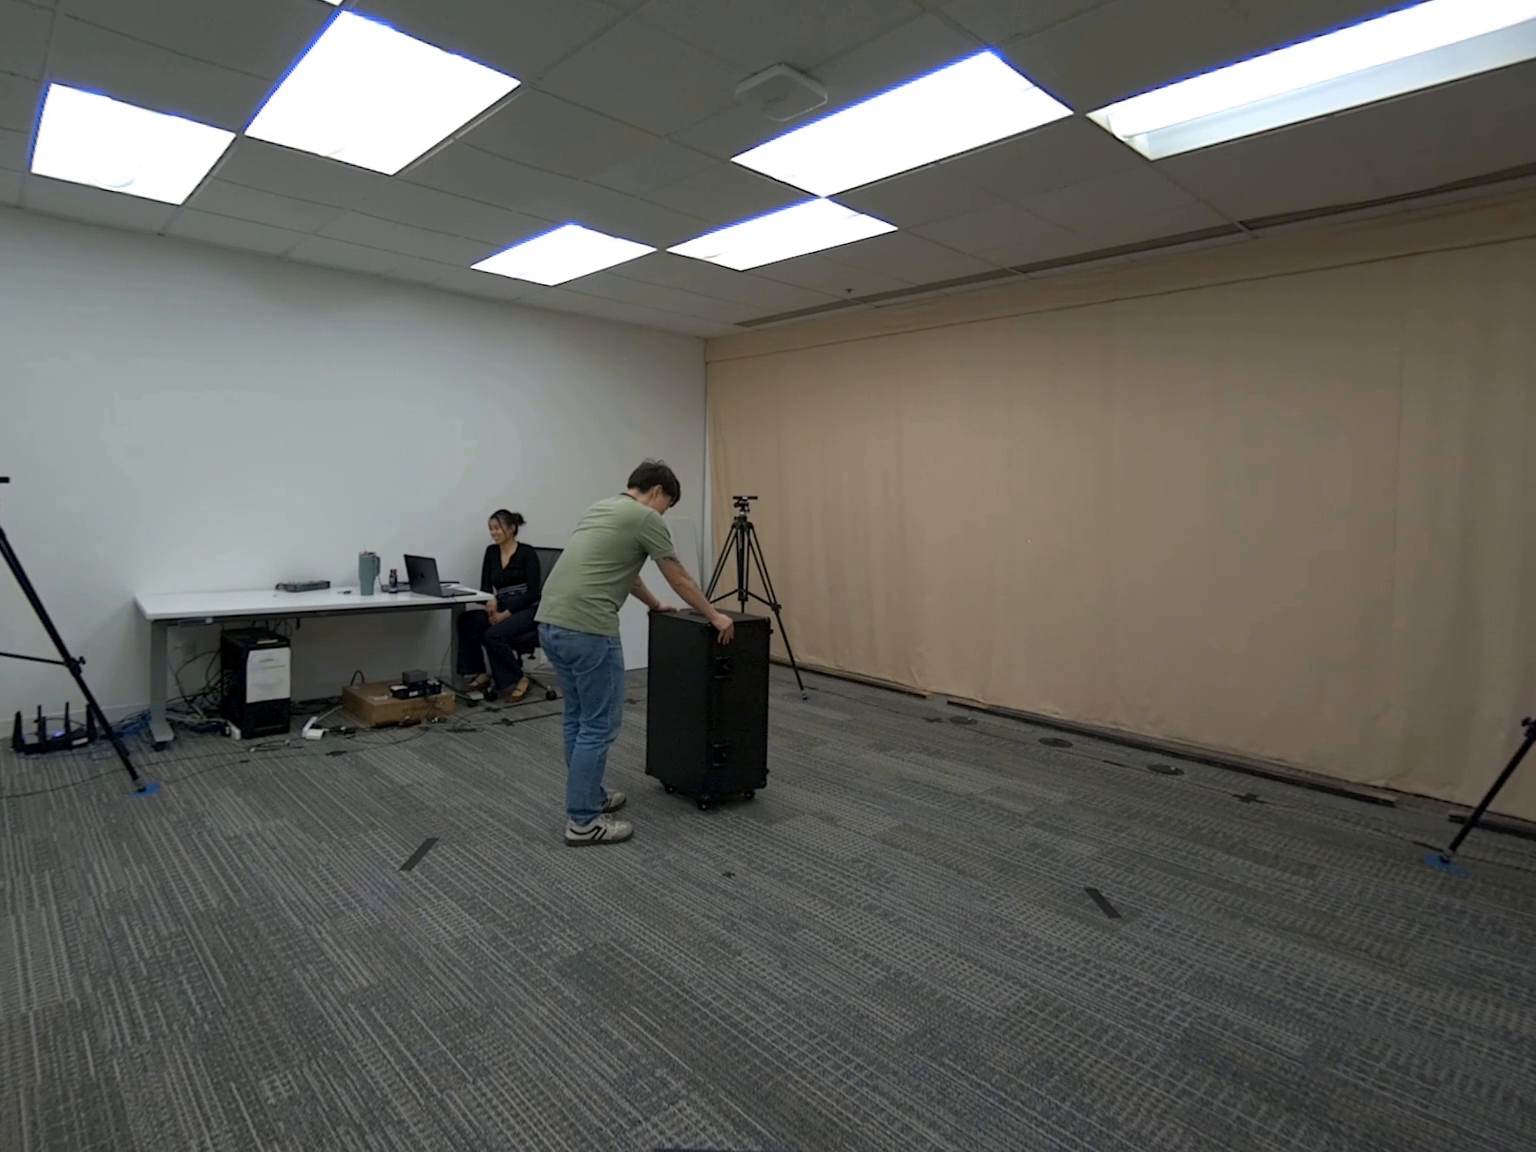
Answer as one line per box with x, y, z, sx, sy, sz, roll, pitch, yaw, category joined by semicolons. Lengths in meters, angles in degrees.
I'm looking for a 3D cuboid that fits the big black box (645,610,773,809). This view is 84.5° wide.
-0.290;0.604;3.935;0.387;0.860;0.534;0;3;-40;big black box
